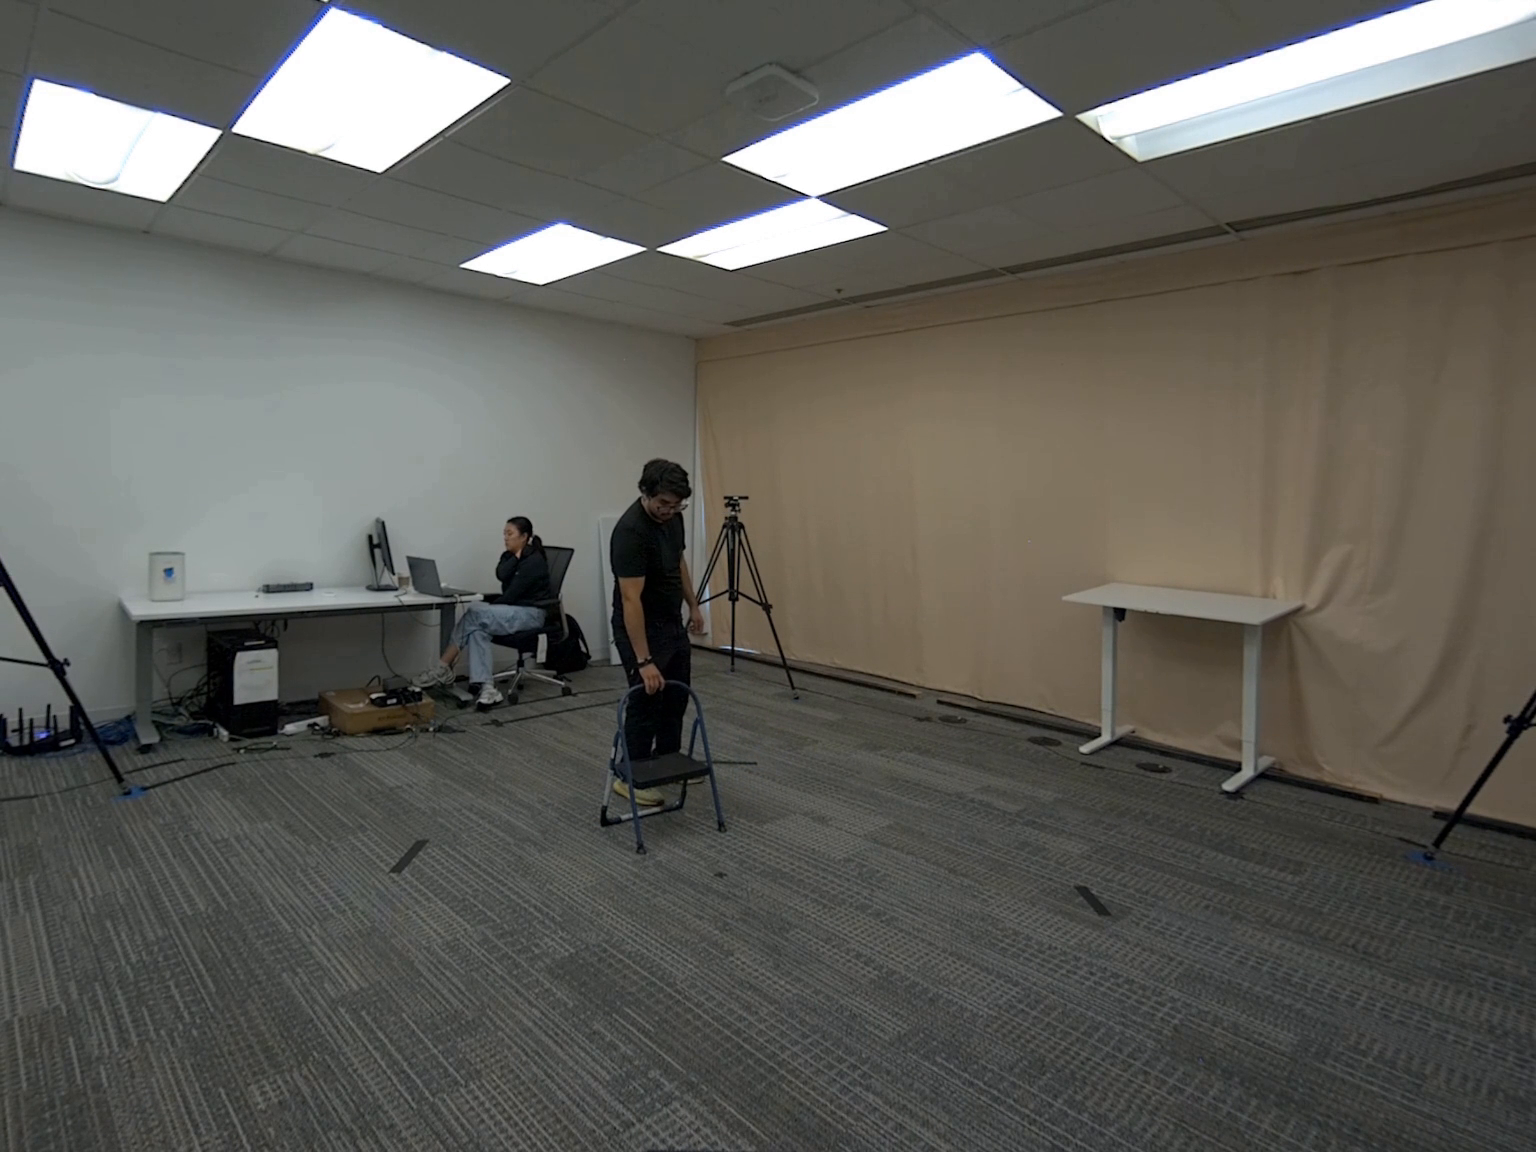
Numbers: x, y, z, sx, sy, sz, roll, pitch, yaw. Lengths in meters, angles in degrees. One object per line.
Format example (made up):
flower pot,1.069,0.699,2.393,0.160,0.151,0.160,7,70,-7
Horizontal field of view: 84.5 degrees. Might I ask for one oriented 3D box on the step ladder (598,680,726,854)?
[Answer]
step ladder,-0.439,0.760,3.516,0.421,0.605,0.358,-1,4,-40
